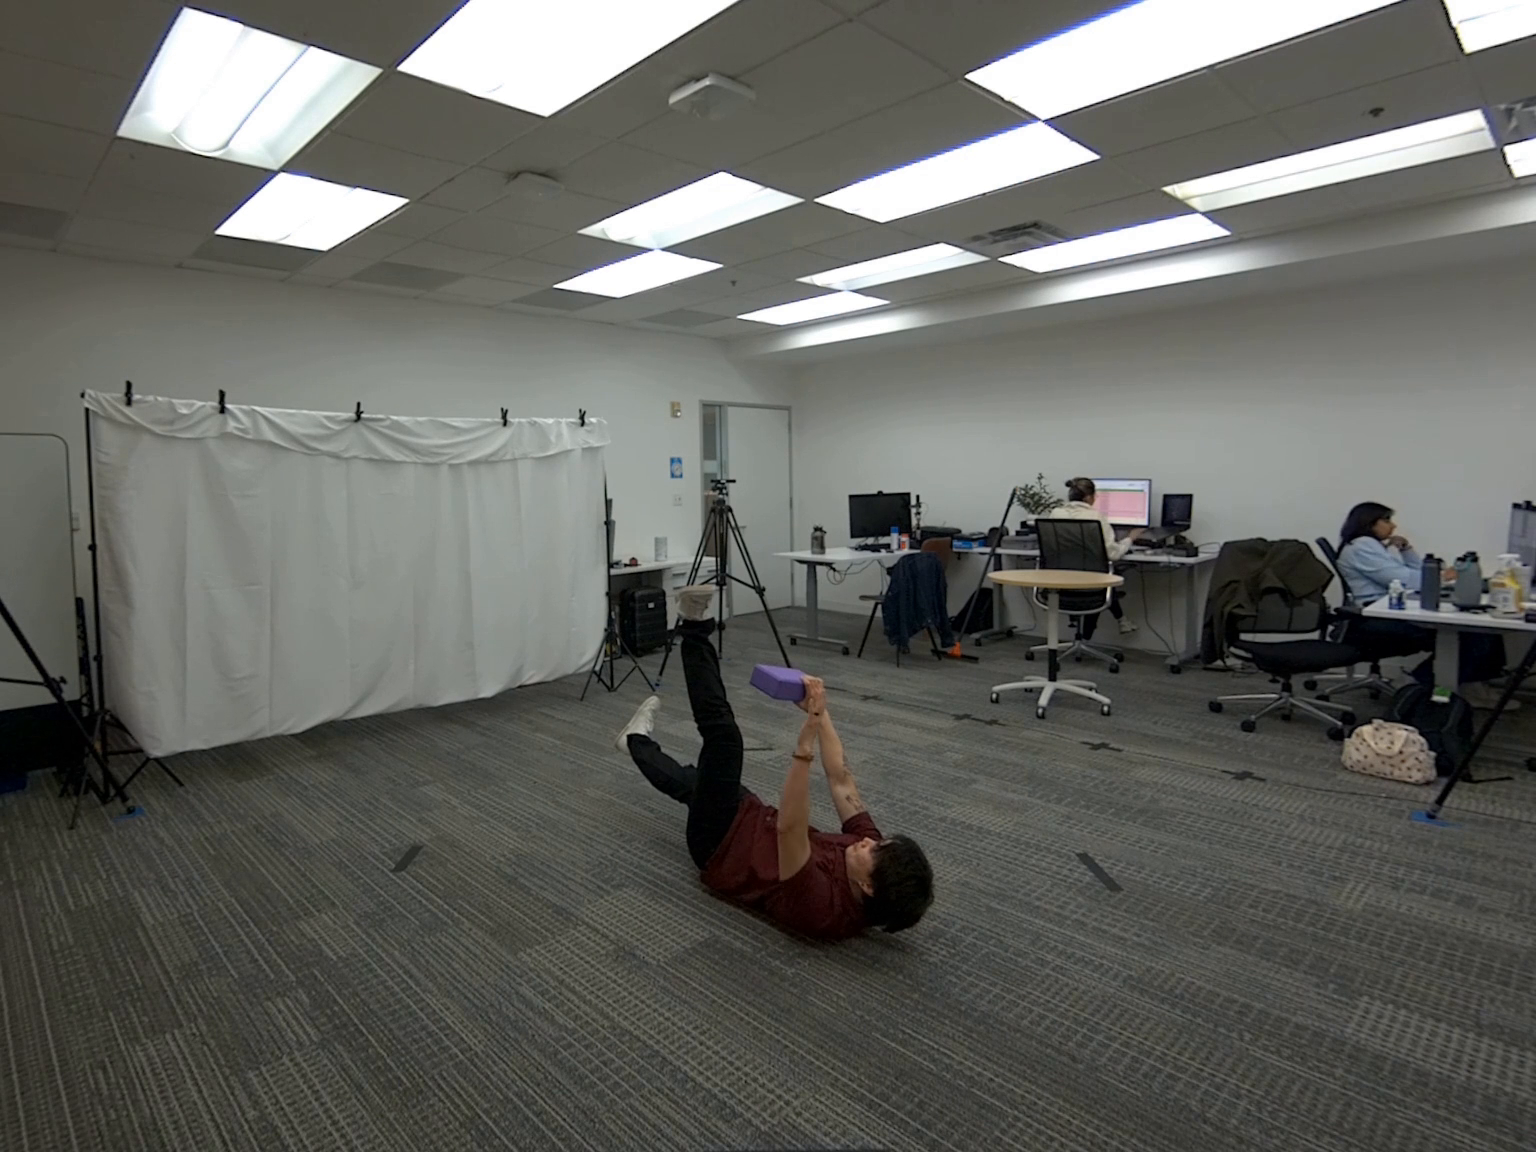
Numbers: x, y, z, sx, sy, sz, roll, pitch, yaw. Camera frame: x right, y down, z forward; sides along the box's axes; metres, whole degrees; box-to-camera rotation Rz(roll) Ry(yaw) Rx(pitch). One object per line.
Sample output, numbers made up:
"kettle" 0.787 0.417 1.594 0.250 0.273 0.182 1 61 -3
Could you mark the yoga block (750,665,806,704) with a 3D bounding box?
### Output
"yoga block" 0.075 0.381 3.019 0.221 0.076 0.154 12 7 -46
